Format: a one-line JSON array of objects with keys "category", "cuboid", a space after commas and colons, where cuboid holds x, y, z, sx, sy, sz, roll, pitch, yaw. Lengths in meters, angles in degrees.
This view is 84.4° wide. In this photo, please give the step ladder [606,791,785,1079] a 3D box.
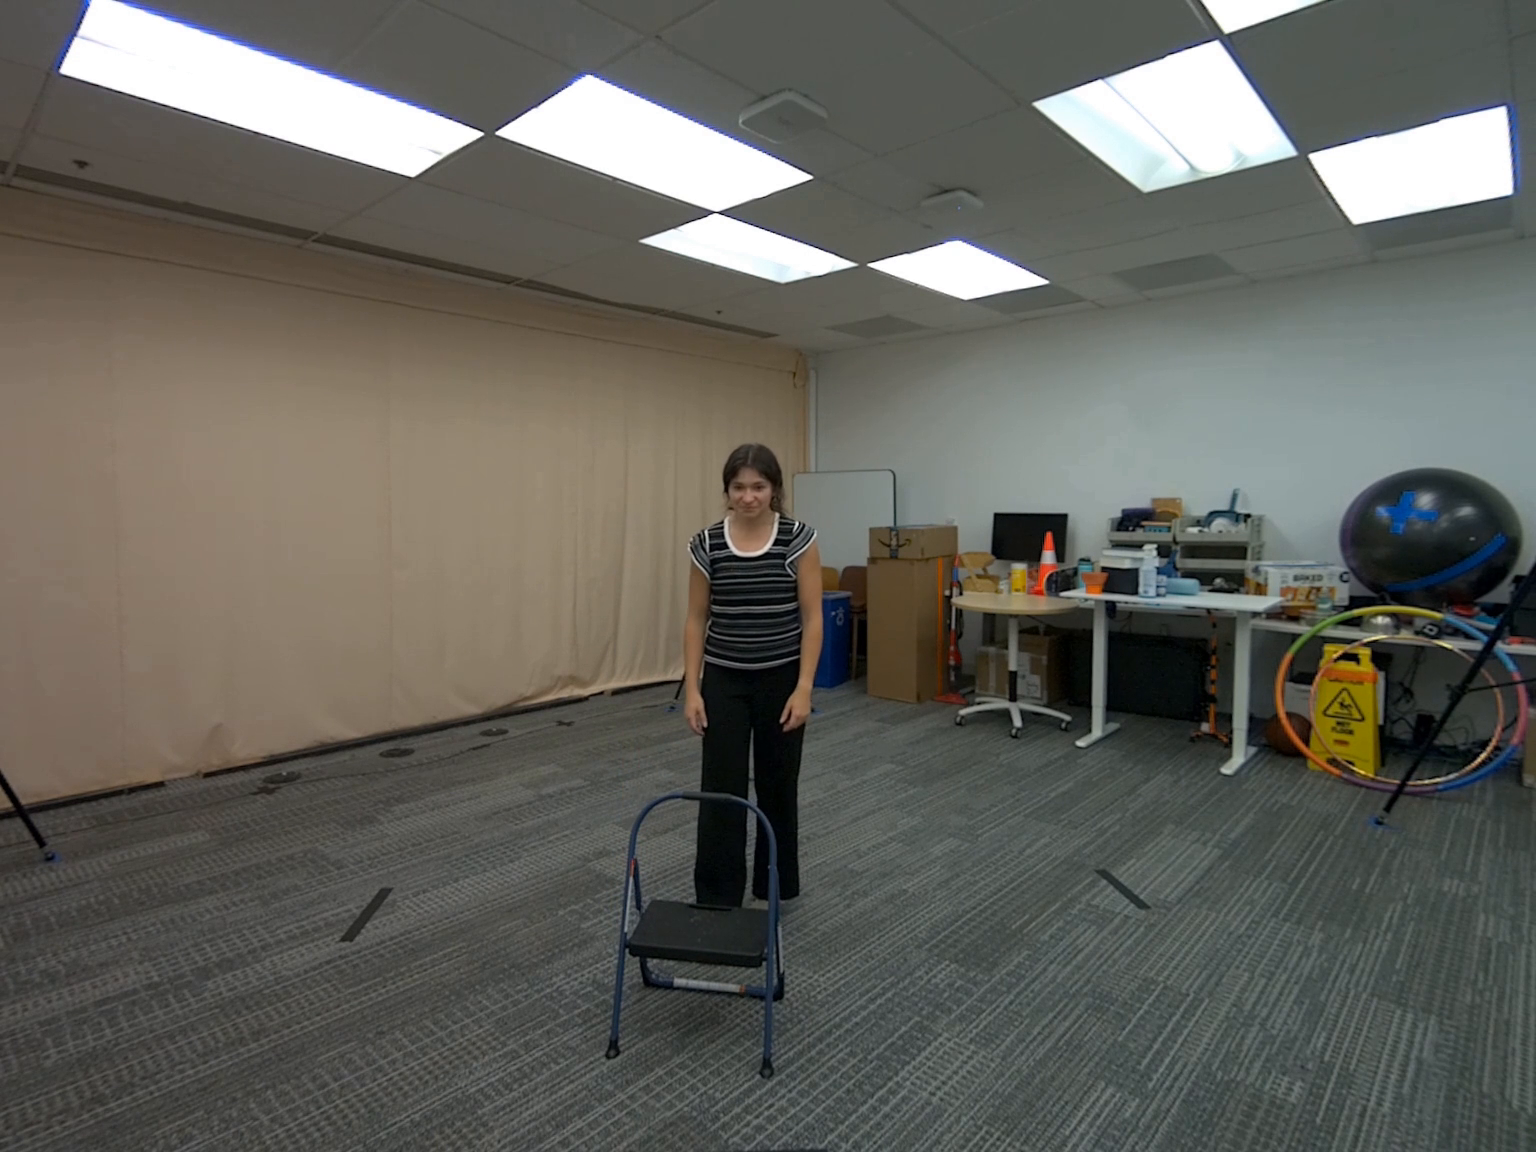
[{"category": "step ladder", "cuboid": [-0.183, 0.905, 2.243, 0.435, 0.605, 0.346, 0, 3, 9]}]
